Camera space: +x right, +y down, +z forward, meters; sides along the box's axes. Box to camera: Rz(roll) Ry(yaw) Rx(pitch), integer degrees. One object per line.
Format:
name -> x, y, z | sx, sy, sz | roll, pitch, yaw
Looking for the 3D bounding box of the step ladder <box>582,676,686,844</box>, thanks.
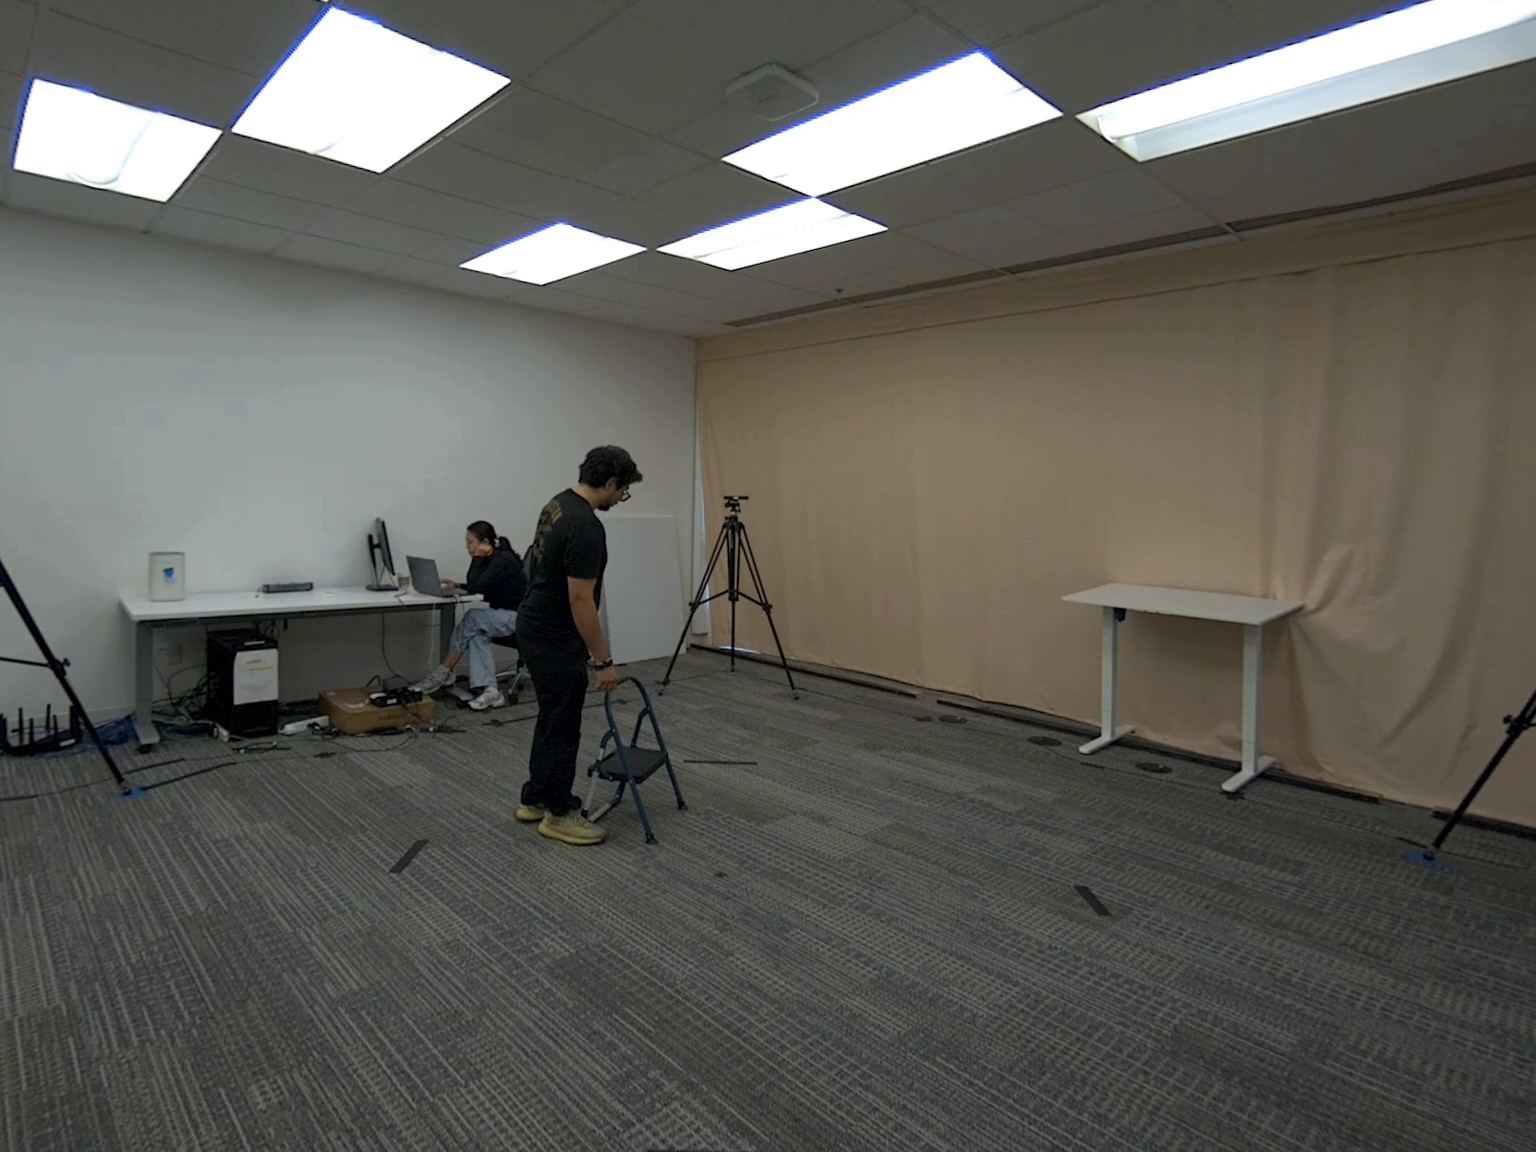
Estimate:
step ladder -> -0.574, 0.753, 3.609 | 0.353, 0.604, 0.427 | 3, 4, 11
